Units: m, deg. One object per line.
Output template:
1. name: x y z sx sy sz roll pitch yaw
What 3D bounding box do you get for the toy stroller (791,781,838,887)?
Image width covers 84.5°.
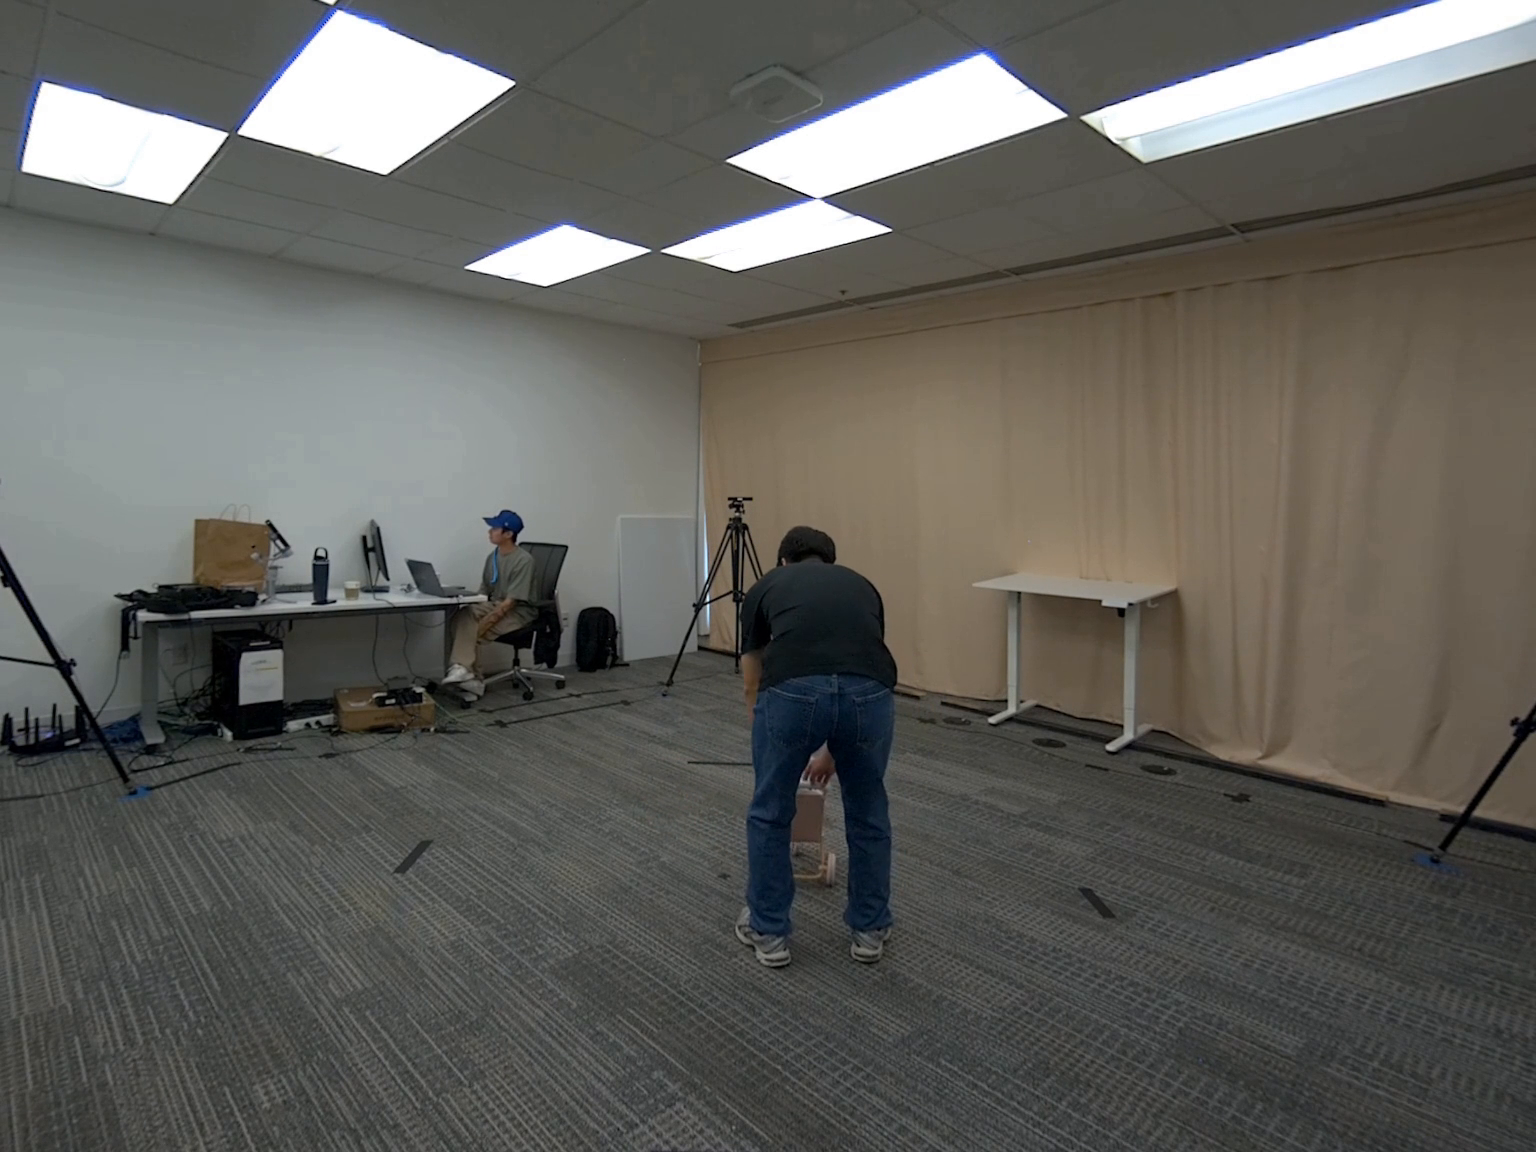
1. toy stroller: 0.109 0.892 3.118 0.283 0.527 0.344 2 20 6
